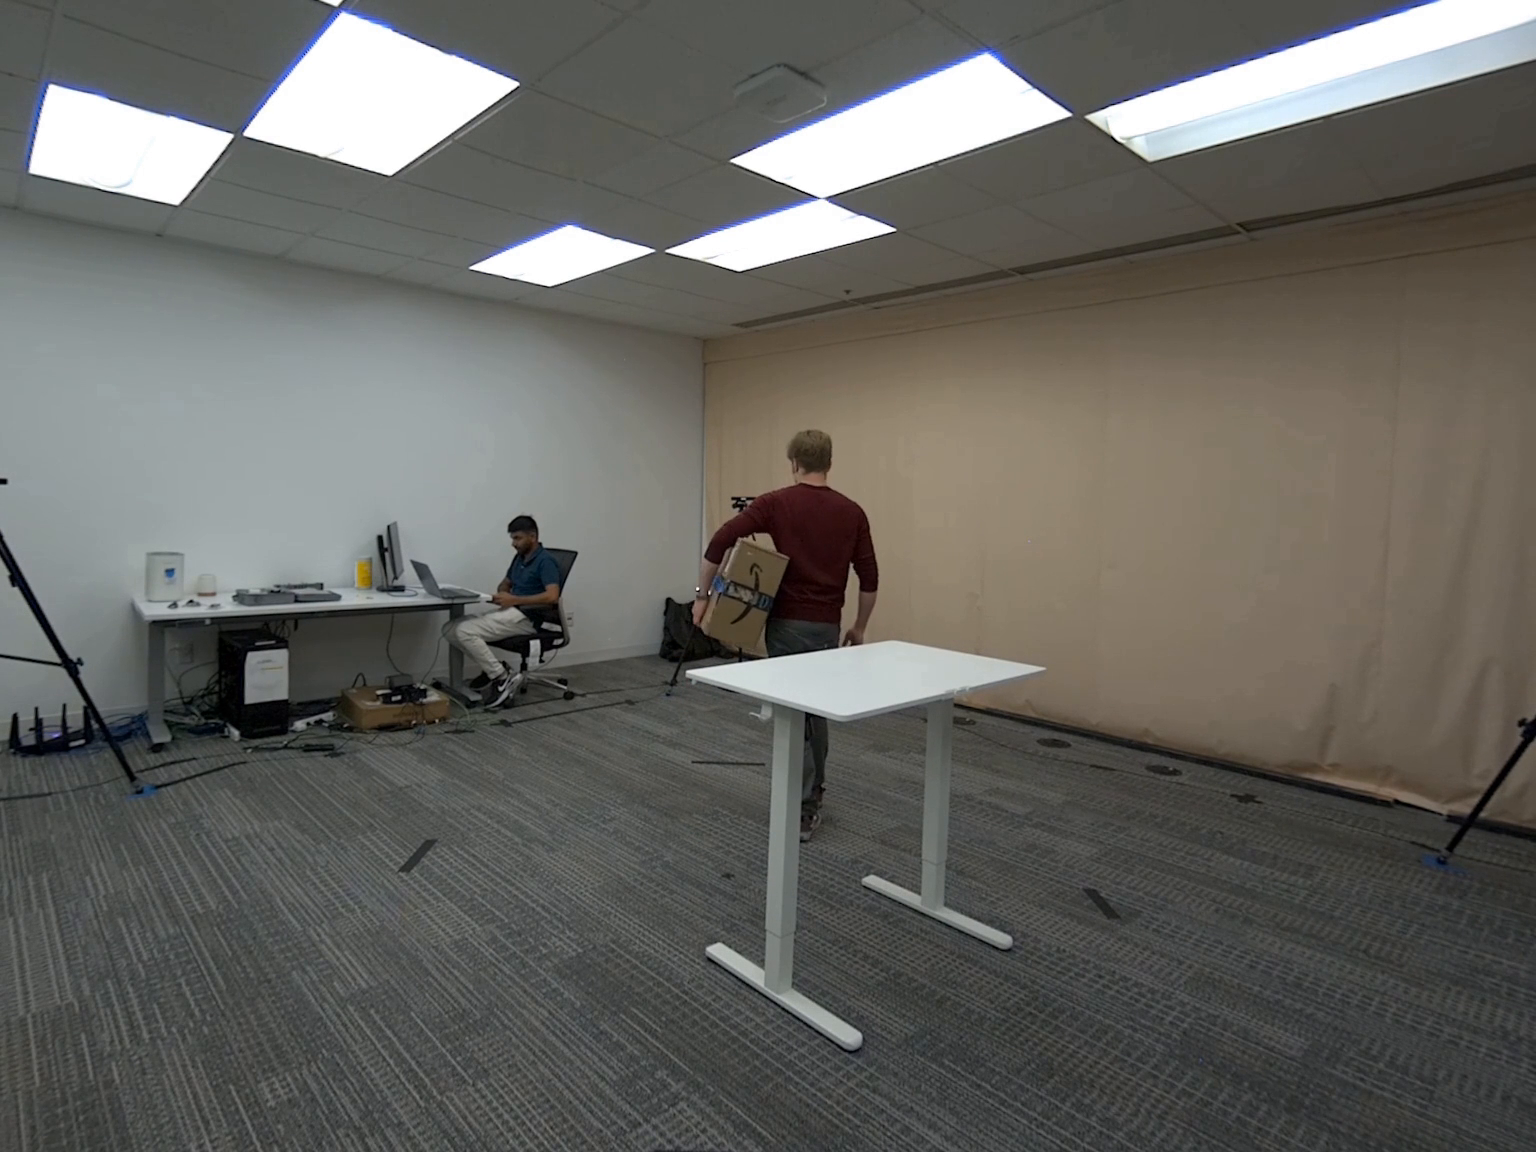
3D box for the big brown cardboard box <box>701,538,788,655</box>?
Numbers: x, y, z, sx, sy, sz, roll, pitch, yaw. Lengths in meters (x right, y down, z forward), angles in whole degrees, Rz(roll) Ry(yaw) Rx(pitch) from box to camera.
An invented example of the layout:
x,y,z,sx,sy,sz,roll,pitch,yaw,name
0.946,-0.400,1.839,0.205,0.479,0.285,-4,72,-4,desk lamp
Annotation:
x,y,z,sx,sy,sz,roll,pitch,yaw,name
-0.133,0.045,3.685,0.231,0.417,0.595,20,2,-11,big brown cardboard box
